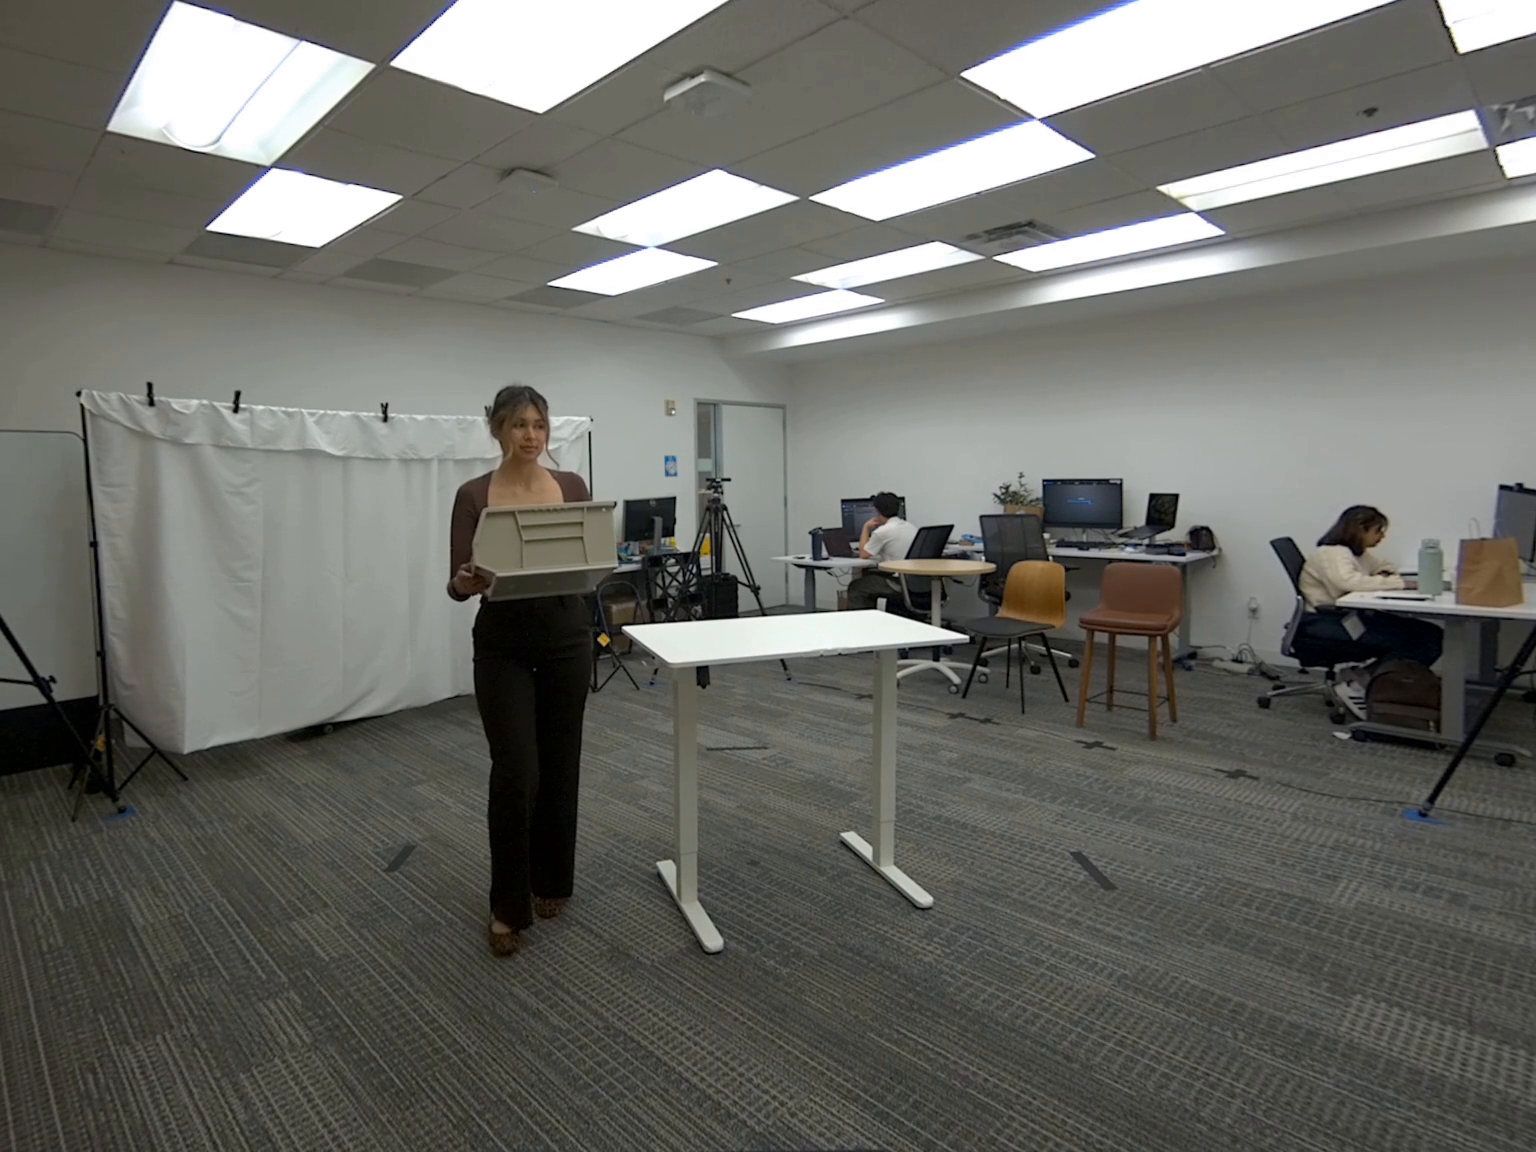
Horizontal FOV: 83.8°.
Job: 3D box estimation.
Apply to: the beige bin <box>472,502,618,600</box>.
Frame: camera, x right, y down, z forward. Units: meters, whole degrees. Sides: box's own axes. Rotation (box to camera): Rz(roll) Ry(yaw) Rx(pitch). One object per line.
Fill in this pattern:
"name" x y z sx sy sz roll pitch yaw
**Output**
"beige bin" -0.645 -0.059 2.374 0.371 0.191 0.425 -3 -10 -21
